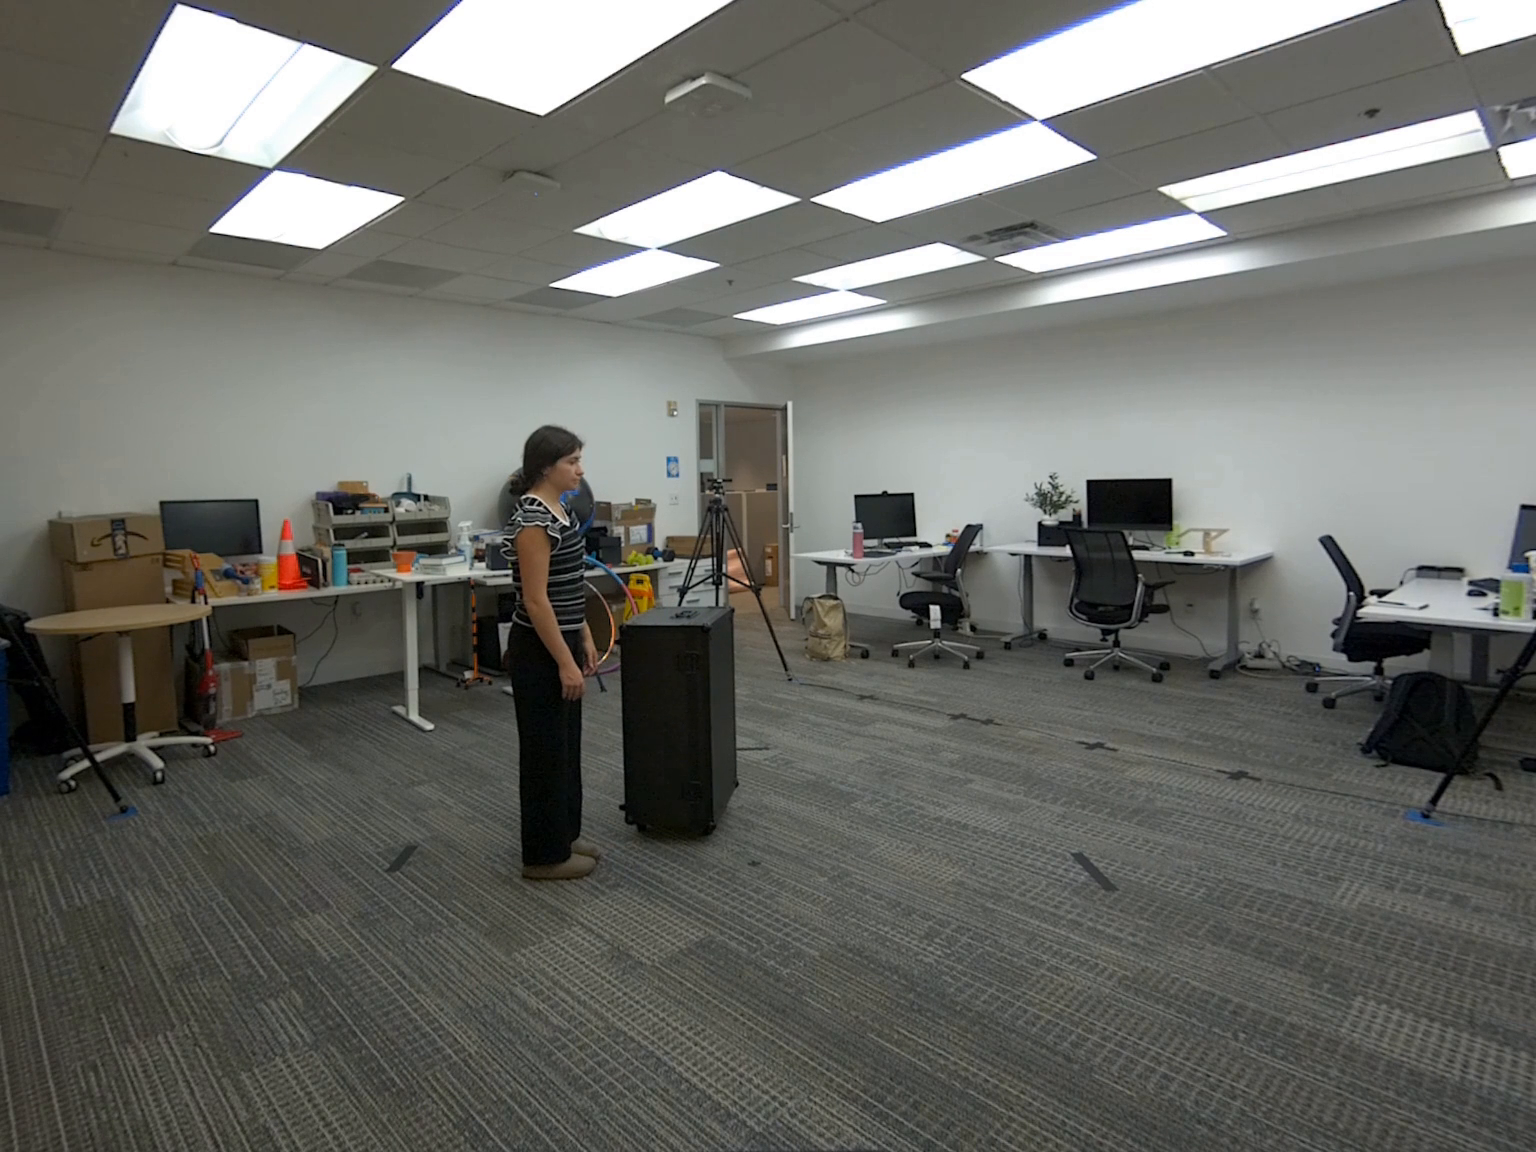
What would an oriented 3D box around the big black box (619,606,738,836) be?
[{"bbox_3d":[-0.360,0.582,3.486,0.401,0.858,0.517,-1,4,11],"label":"big black box"}]
